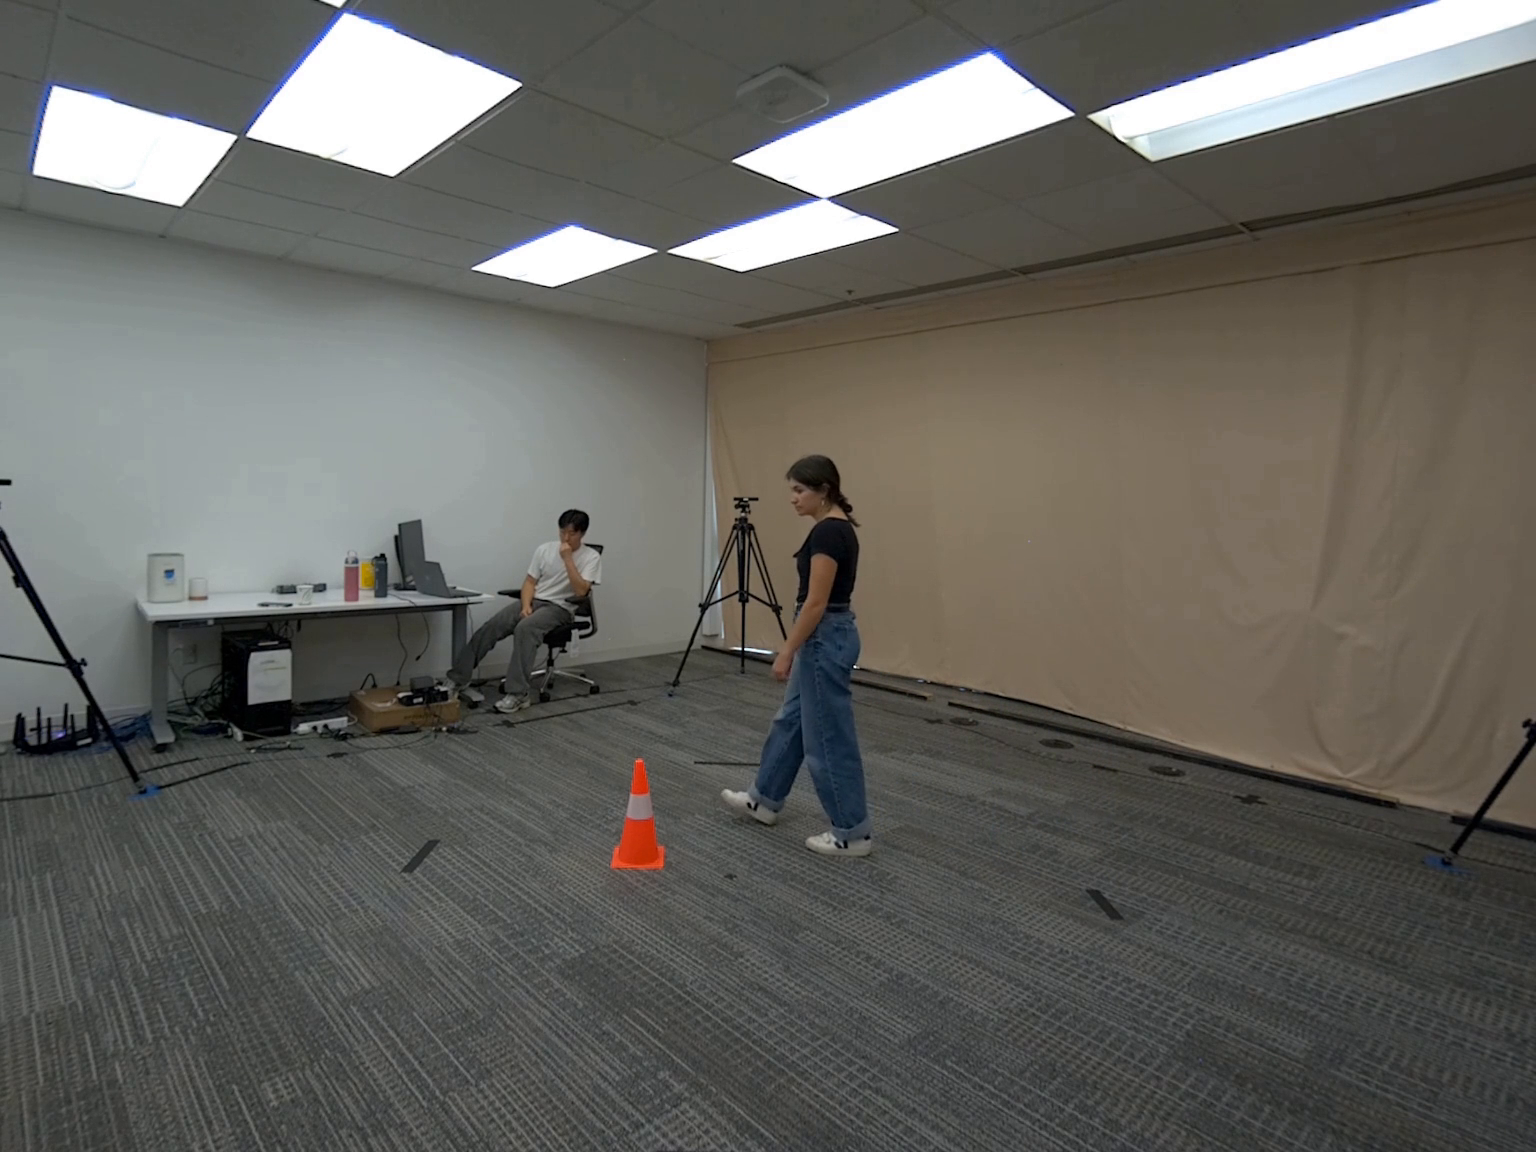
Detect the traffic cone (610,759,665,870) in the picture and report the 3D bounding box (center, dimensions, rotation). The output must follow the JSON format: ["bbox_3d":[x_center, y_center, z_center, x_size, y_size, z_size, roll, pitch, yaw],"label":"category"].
[{"bbox_3d":[-0.499,0.904,3.238,0.204,0.382,0.205,3,4,-7],"label":"traffic cone"}]
